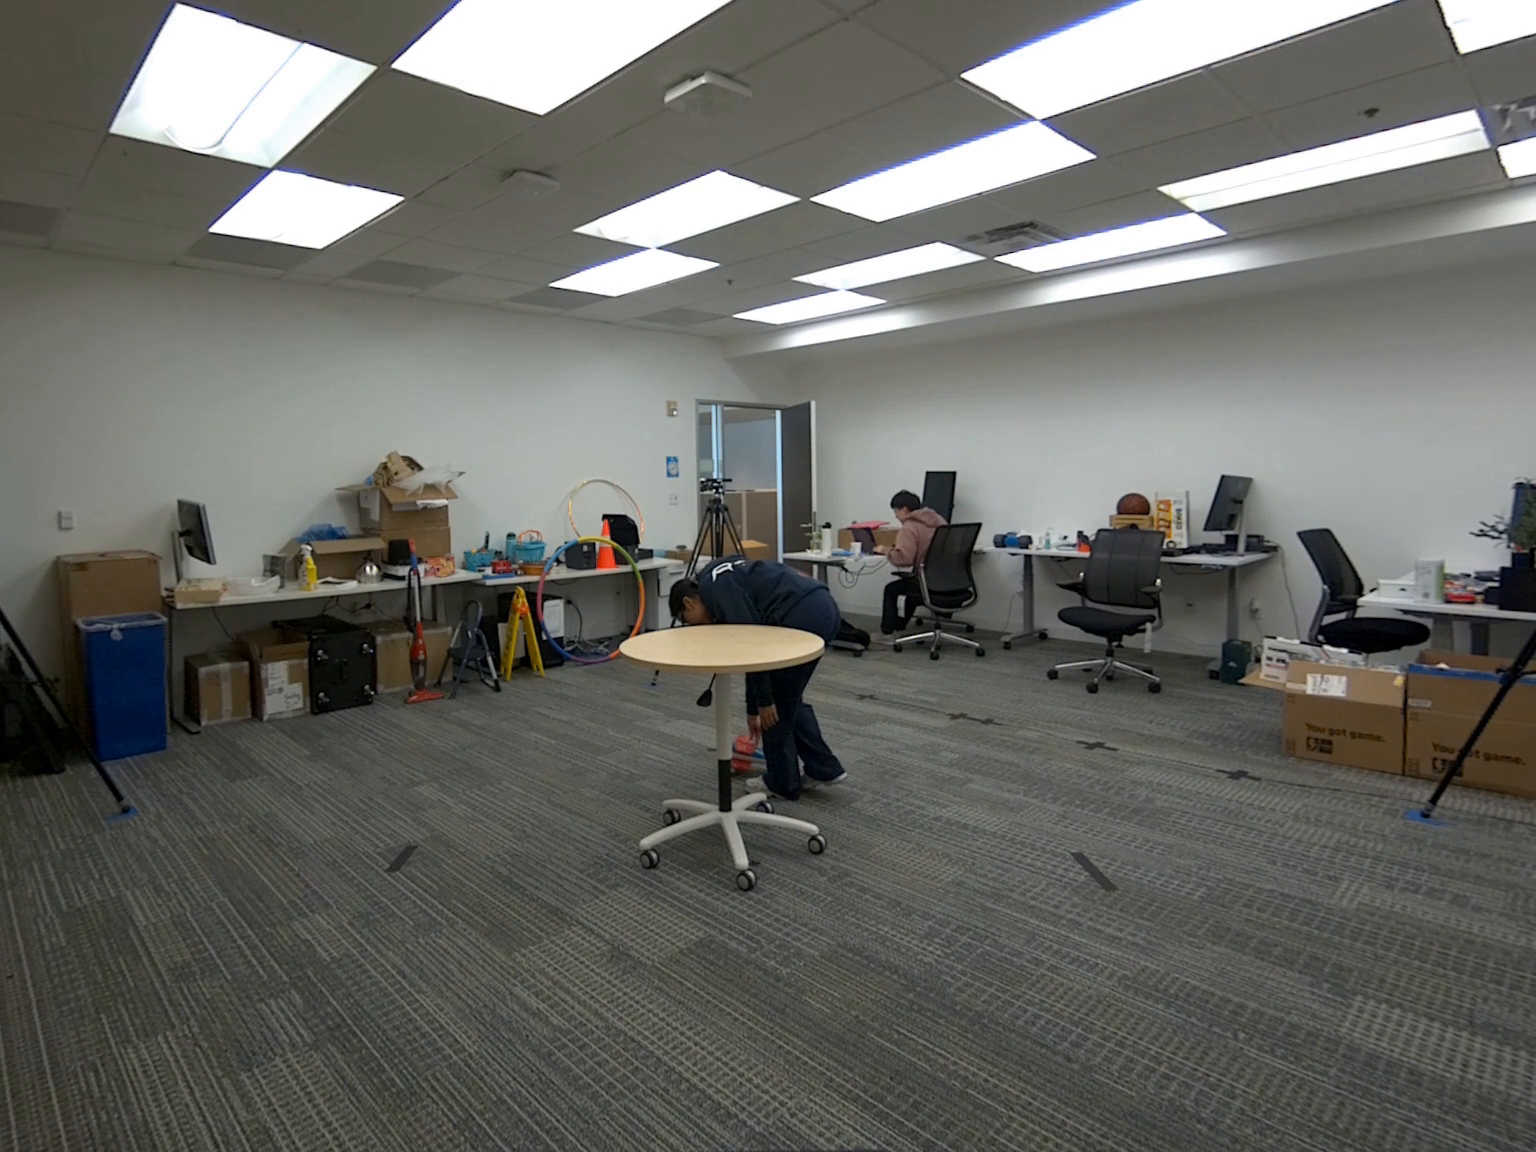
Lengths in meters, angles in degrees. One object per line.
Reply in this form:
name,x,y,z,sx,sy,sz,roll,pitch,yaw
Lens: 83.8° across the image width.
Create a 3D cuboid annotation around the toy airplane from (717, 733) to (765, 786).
toy airplane,-0.075,0.865,4.102,0.254,0.156,0.257,-4,6,-26
